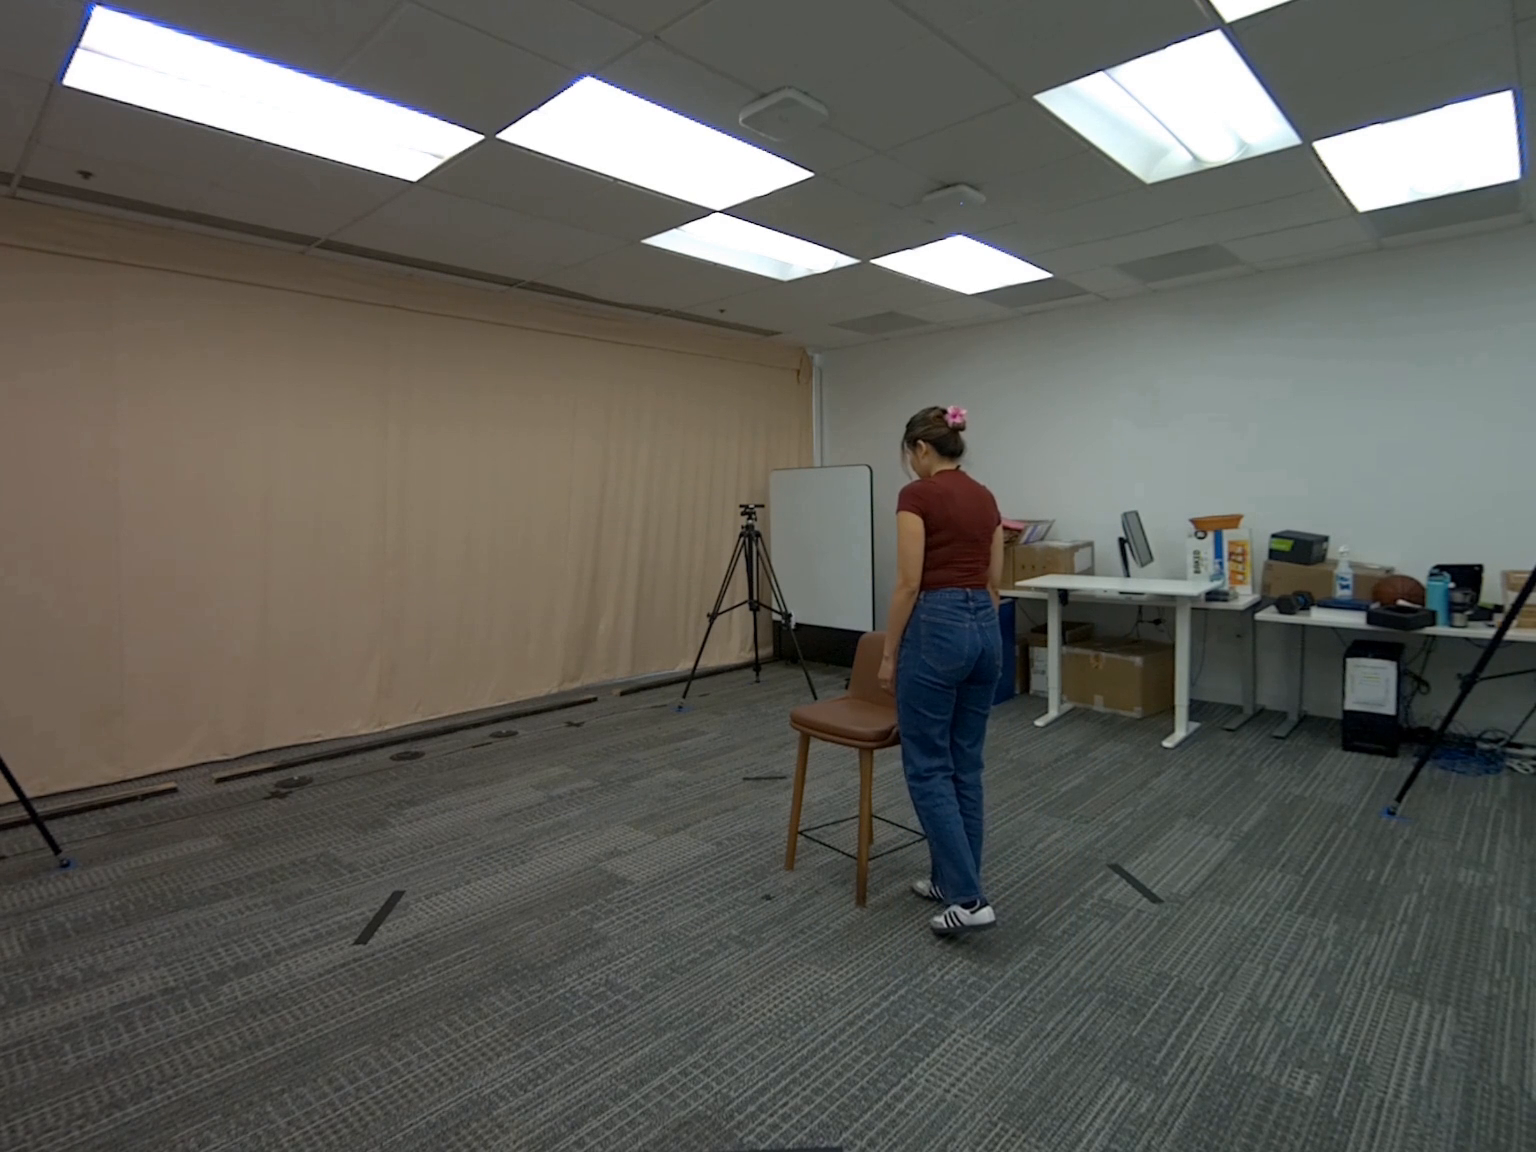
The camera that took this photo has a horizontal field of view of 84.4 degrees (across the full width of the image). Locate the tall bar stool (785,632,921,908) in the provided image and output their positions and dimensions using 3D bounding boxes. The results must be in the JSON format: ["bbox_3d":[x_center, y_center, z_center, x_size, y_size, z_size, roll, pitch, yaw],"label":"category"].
[{"bbox_3d":[0.360,0.683,3.164,0.453,0.888,0.471,-1,3,-38],"label":"tall bar stool"}]
